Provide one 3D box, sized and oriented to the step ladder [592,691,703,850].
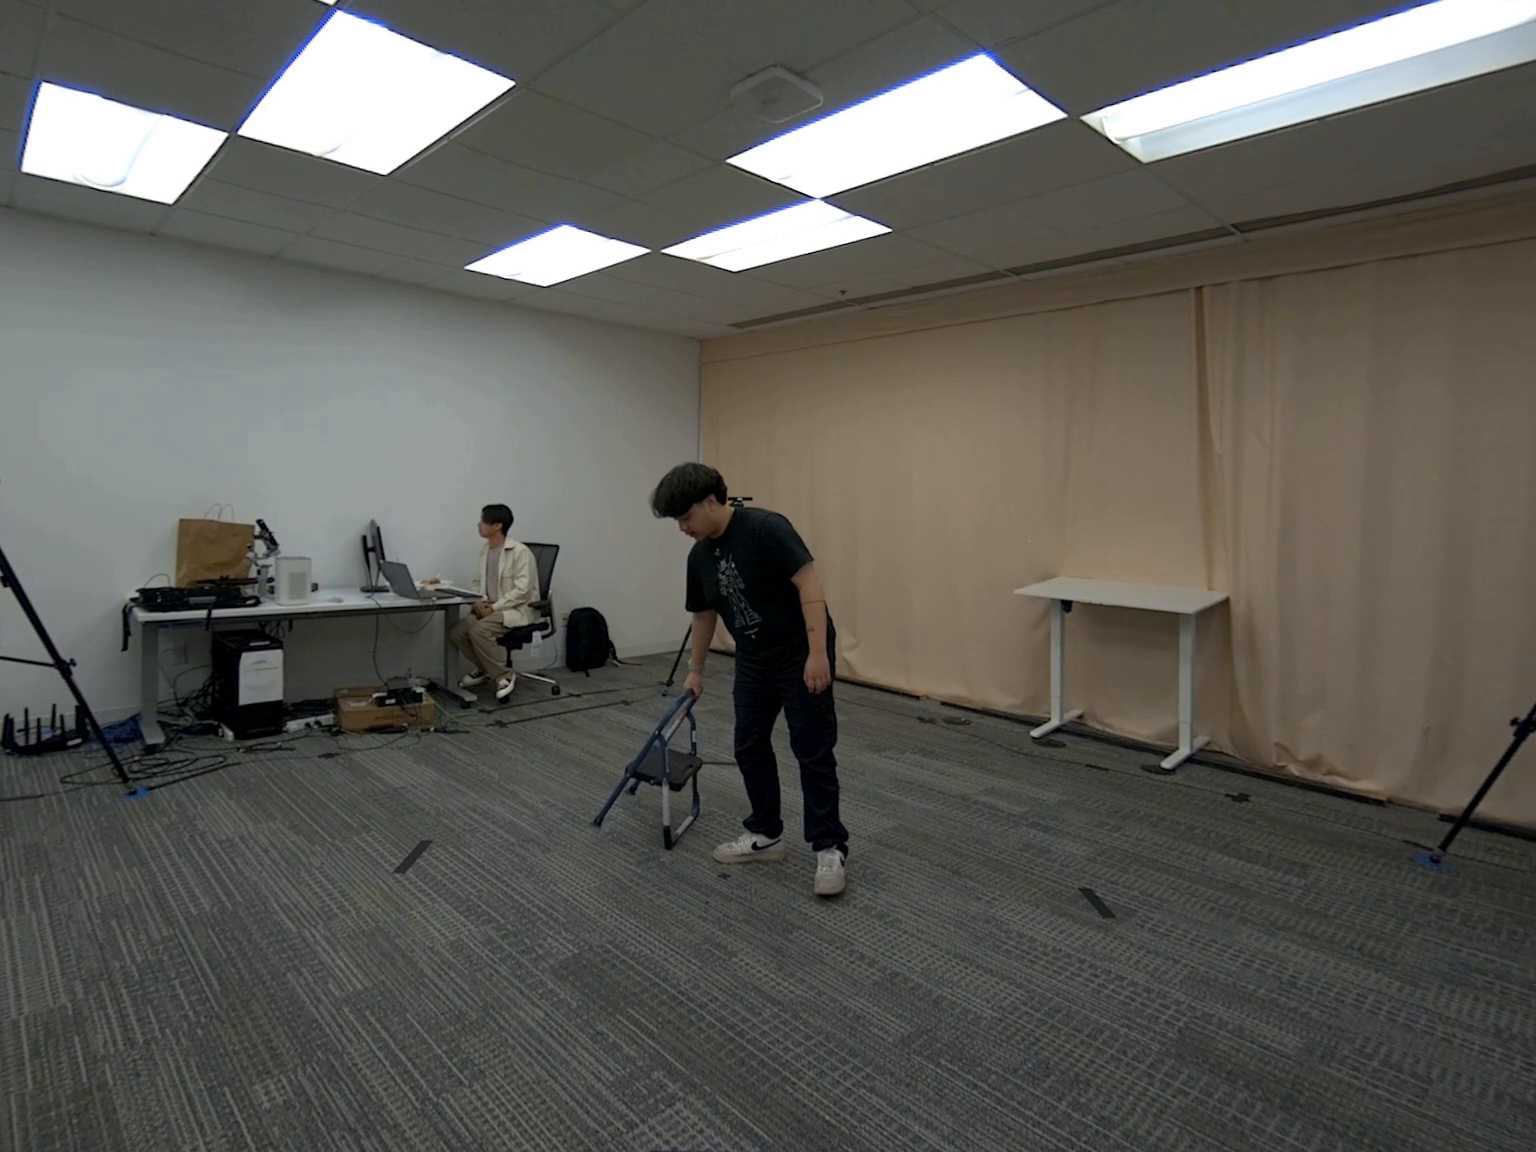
[{"bbox_3d":[-0.450,0.739,3.524,0.353,0.604,0.427,13,6,11],"label":"step ladder"}]
